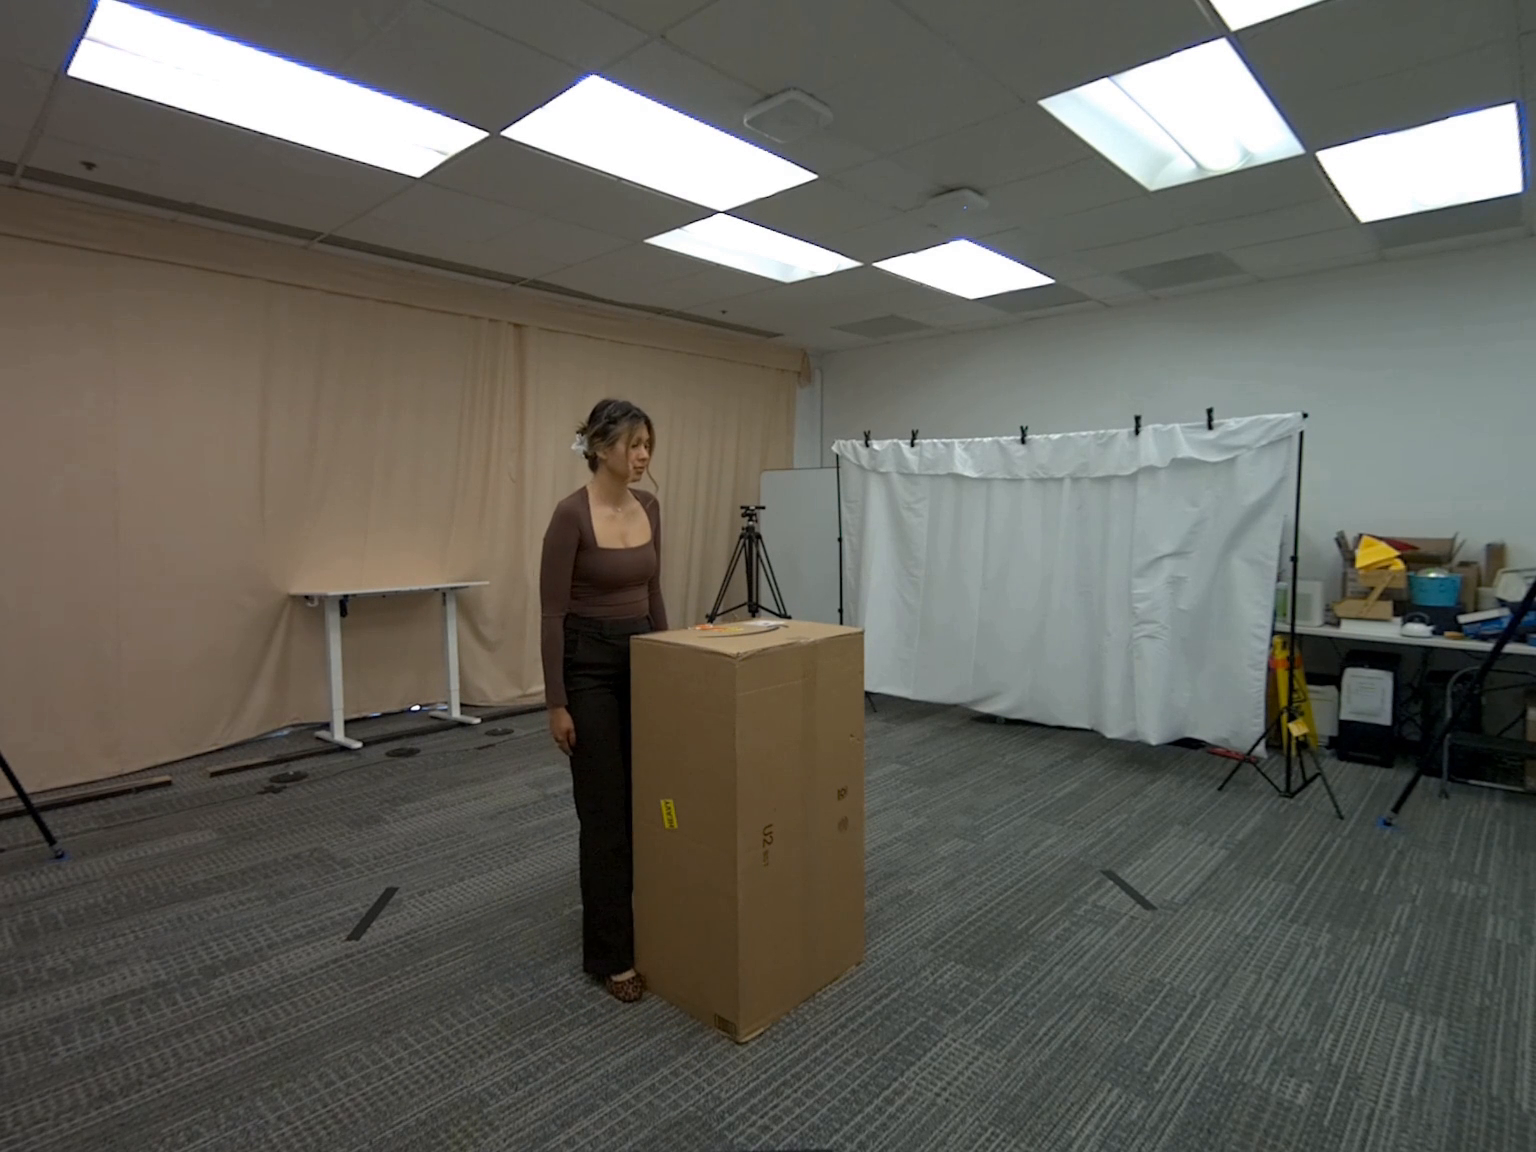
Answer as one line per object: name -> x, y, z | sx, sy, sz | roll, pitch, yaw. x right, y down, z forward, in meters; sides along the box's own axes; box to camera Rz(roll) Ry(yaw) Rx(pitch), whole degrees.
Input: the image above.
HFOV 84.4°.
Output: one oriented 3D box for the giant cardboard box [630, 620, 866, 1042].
giant cardboard box -> -0.044, 0.674, 2.499 | 0.461, 1.025, 0.566 | 2, 4, 43
